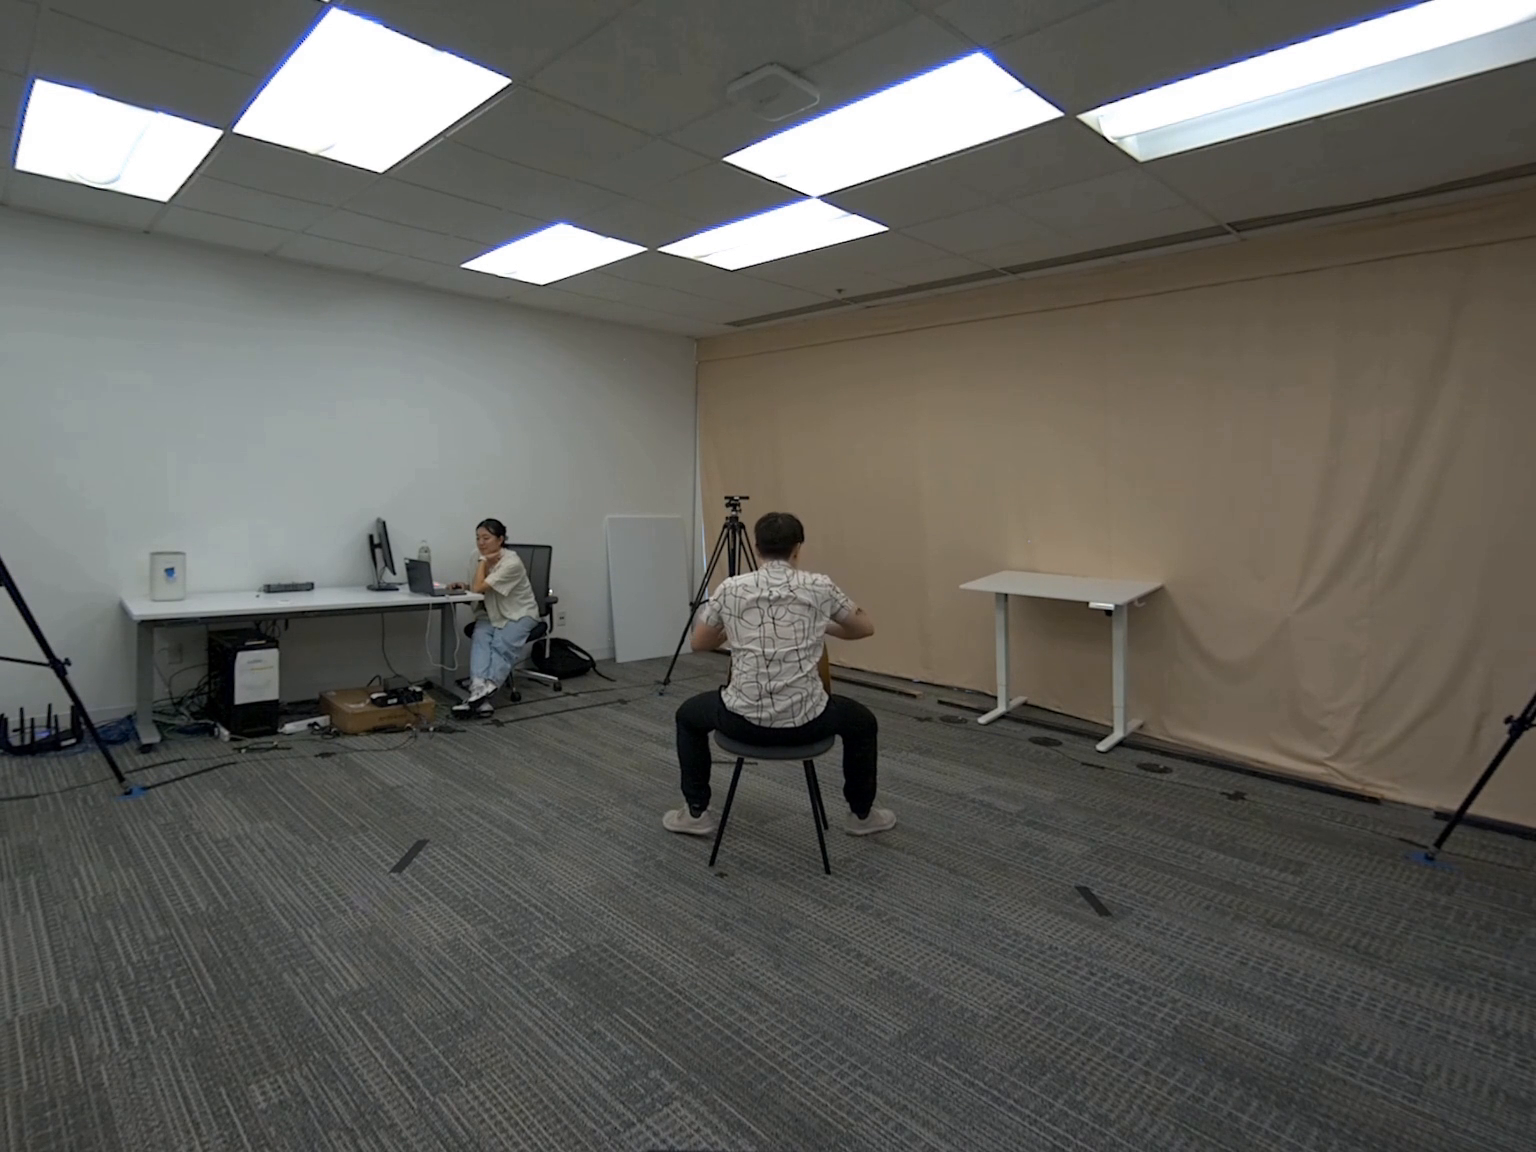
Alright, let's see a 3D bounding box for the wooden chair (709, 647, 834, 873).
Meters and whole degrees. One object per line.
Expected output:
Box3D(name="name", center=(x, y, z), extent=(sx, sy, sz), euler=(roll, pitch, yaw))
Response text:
Box3D(name="wooden chair", center=(0.022, 0.670, 3.334), extent=(0.480, 0.878, 0.520), euler=(1, -2, 4))
